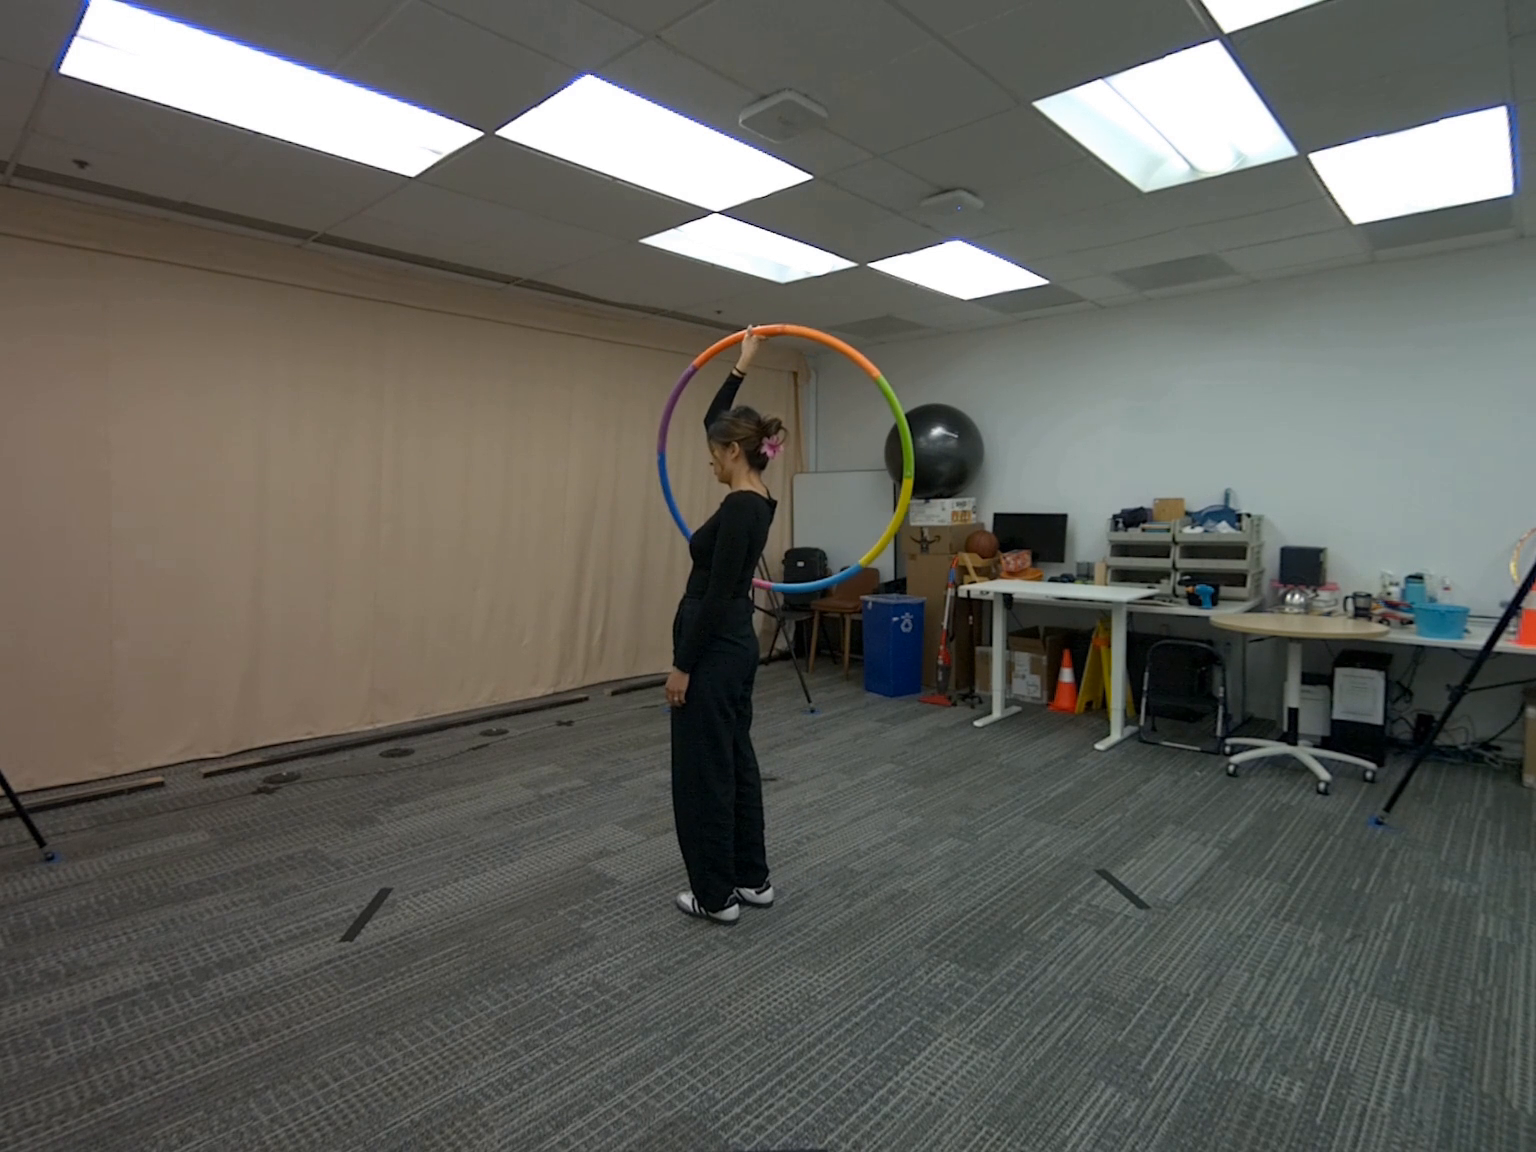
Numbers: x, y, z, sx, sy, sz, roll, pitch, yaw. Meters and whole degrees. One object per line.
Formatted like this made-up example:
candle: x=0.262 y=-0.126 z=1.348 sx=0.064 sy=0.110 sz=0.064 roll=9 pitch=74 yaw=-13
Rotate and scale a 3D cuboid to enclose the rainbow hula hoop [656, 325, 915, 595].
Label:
rainbow hula hoop: x=0.041 y=-0.412 z=3.096 sx=1.007 sy=0.975 sz=0.051 roll=2 pitch=15 yaw=21
